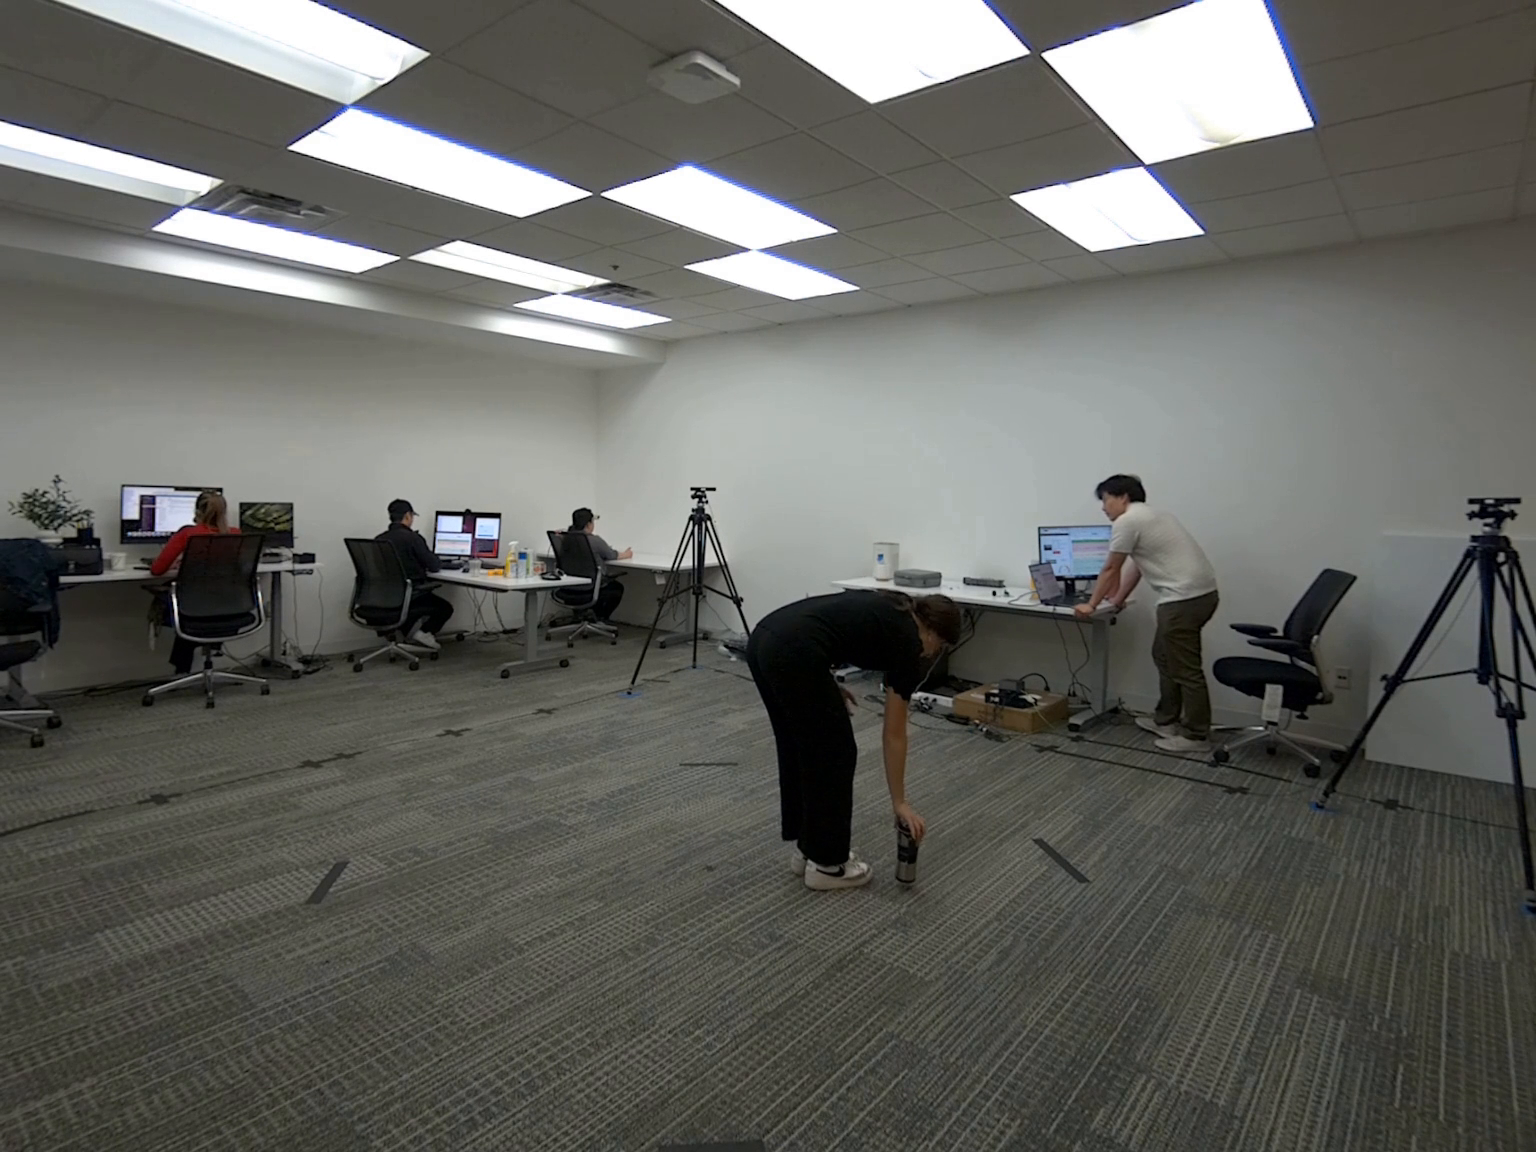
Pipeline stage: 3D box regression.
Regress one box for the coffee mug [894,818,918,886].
[{"bbox_3d":[0.474,0.970,2.970,0.091,0.202,0.118,8,4,32],"label":"coffee mug"}]
